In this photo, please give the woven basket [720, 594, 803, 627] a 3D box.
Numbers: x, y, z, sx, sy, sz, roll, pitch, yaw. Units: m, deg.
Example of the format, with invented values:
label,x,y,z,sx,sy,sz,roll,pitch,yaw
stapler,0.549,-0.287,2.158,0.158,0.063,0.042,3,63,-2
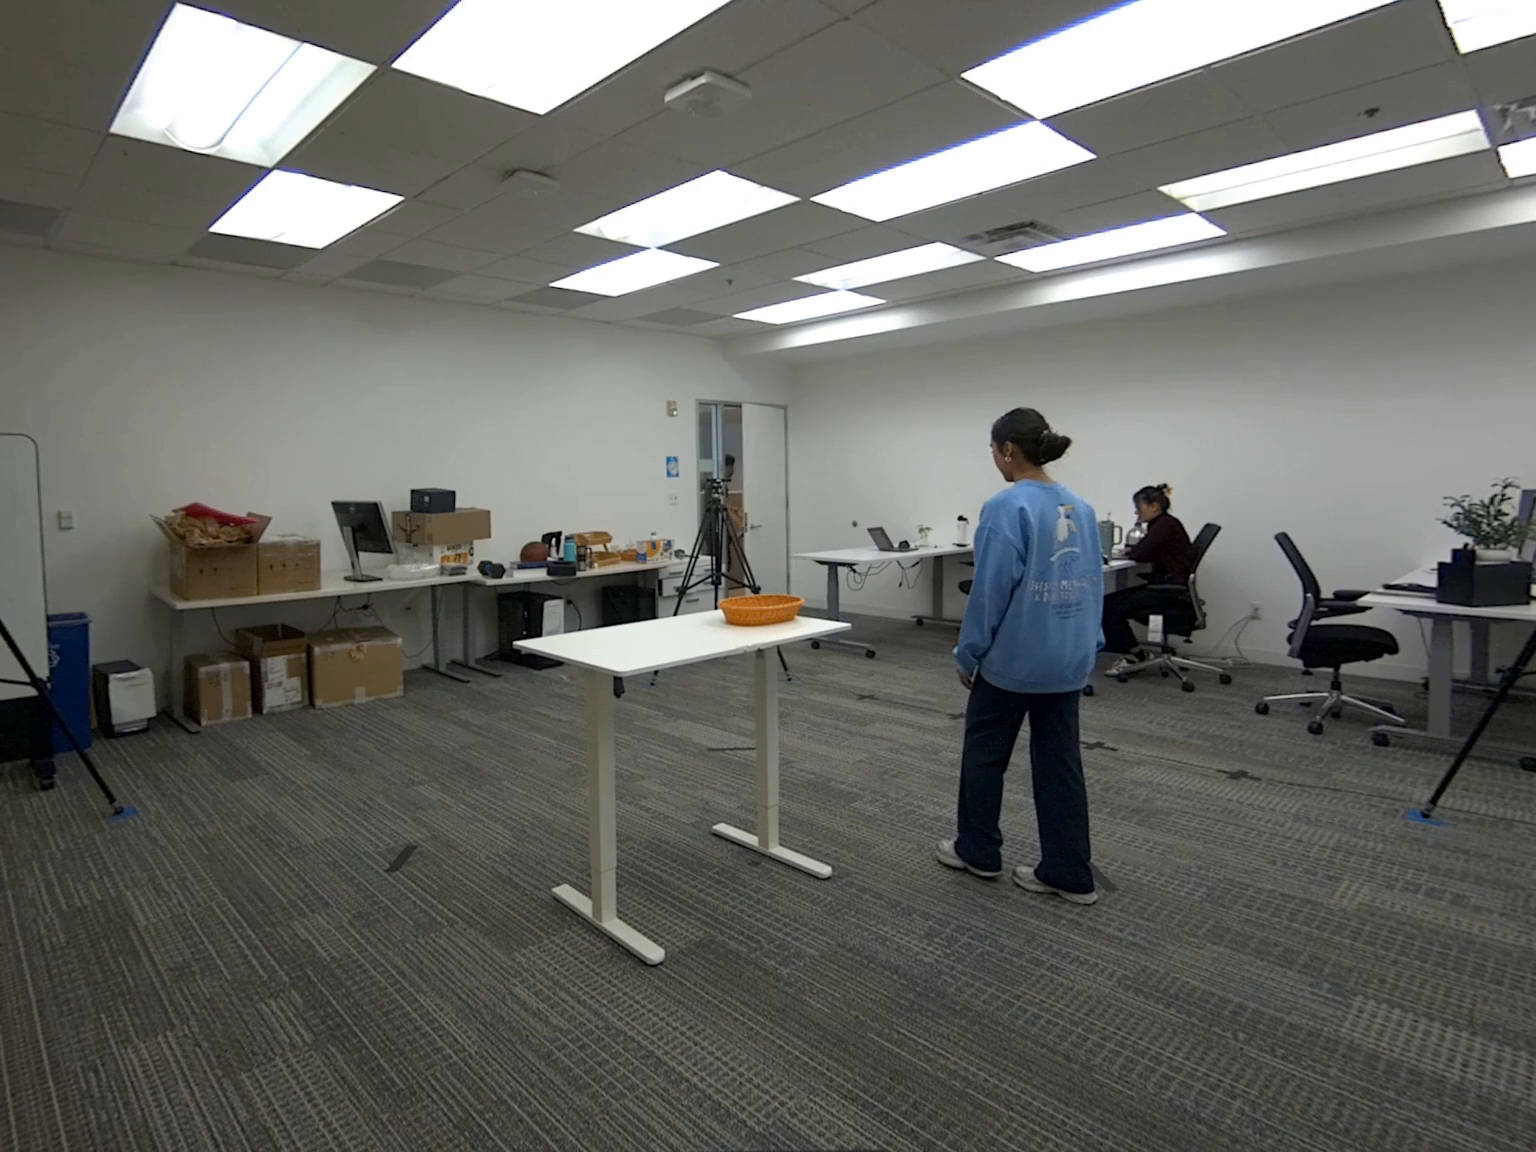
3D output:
label,x,y,z,sx,sy,sz,roll,pitch,yaw
woven basket,-0.022,0.130,3.112,0.341,0.073,0.260,-5,8,-38
